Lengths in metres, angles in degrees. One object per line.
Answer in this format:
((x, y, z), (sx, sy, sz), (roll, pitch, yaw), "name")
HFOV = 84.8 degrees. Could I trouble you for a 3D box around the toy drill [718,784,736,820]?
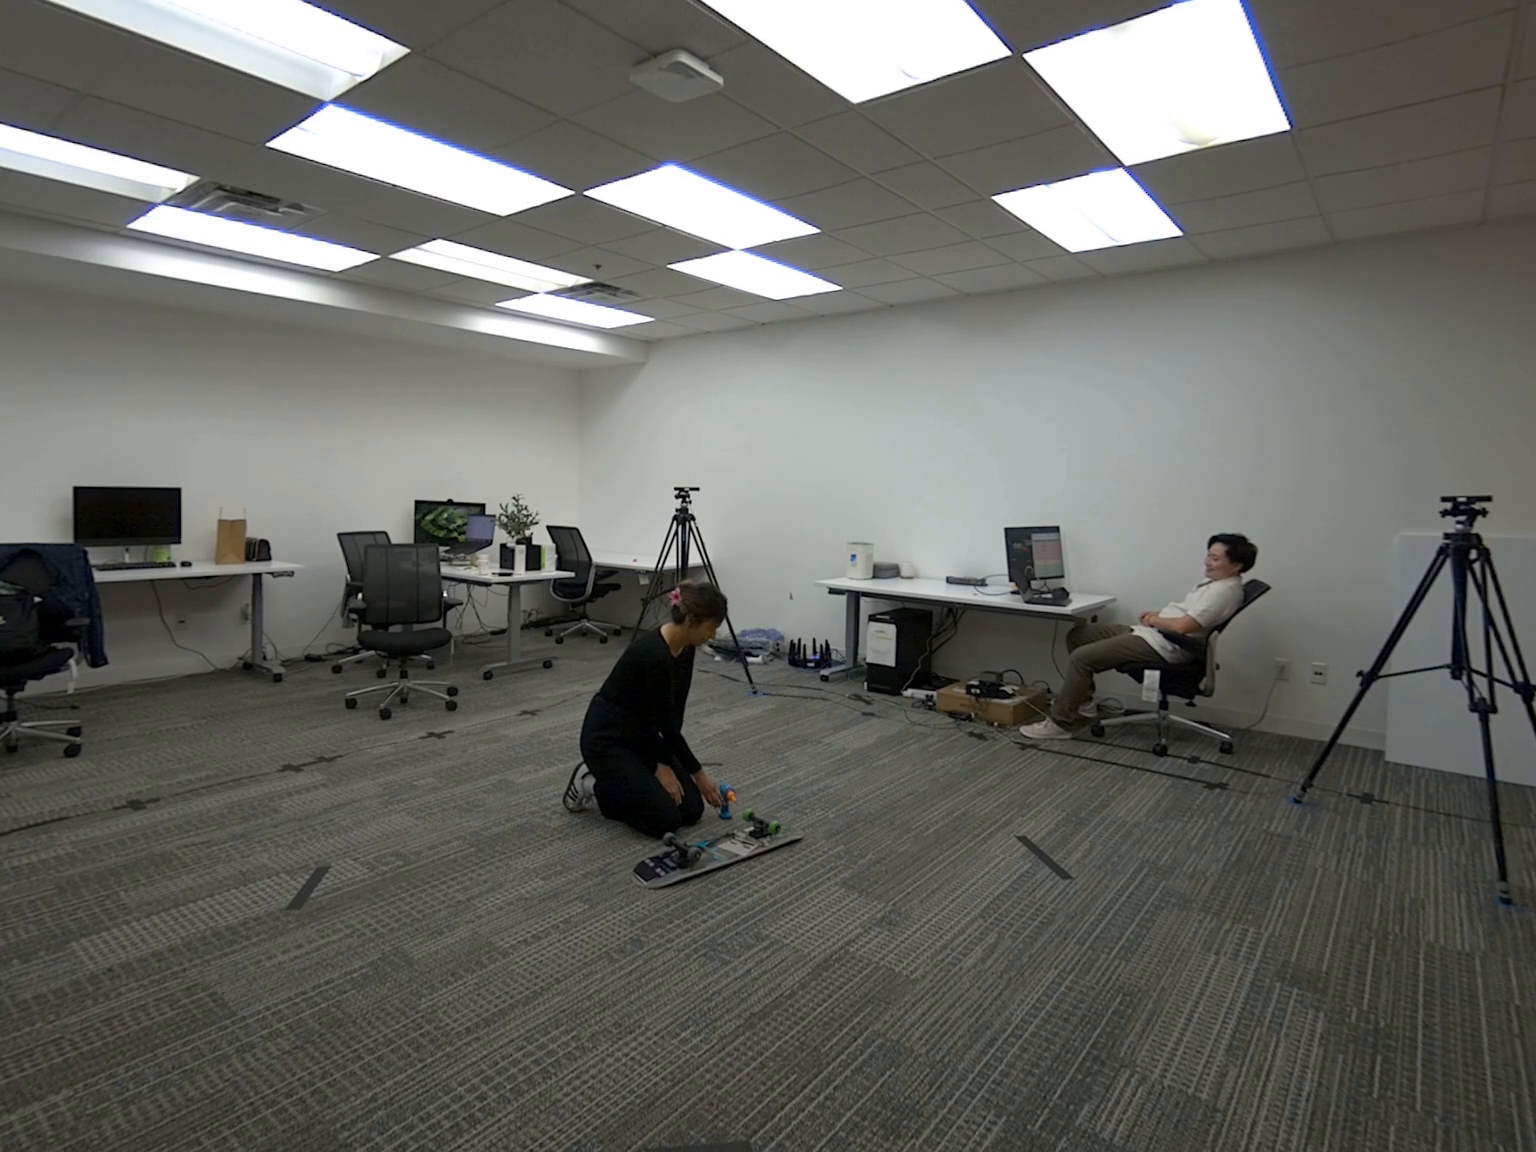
((-0.181, 0.957, 3.573), (0.060, 0.145, 0.174), (-1, 6, -20), "toy drill")
